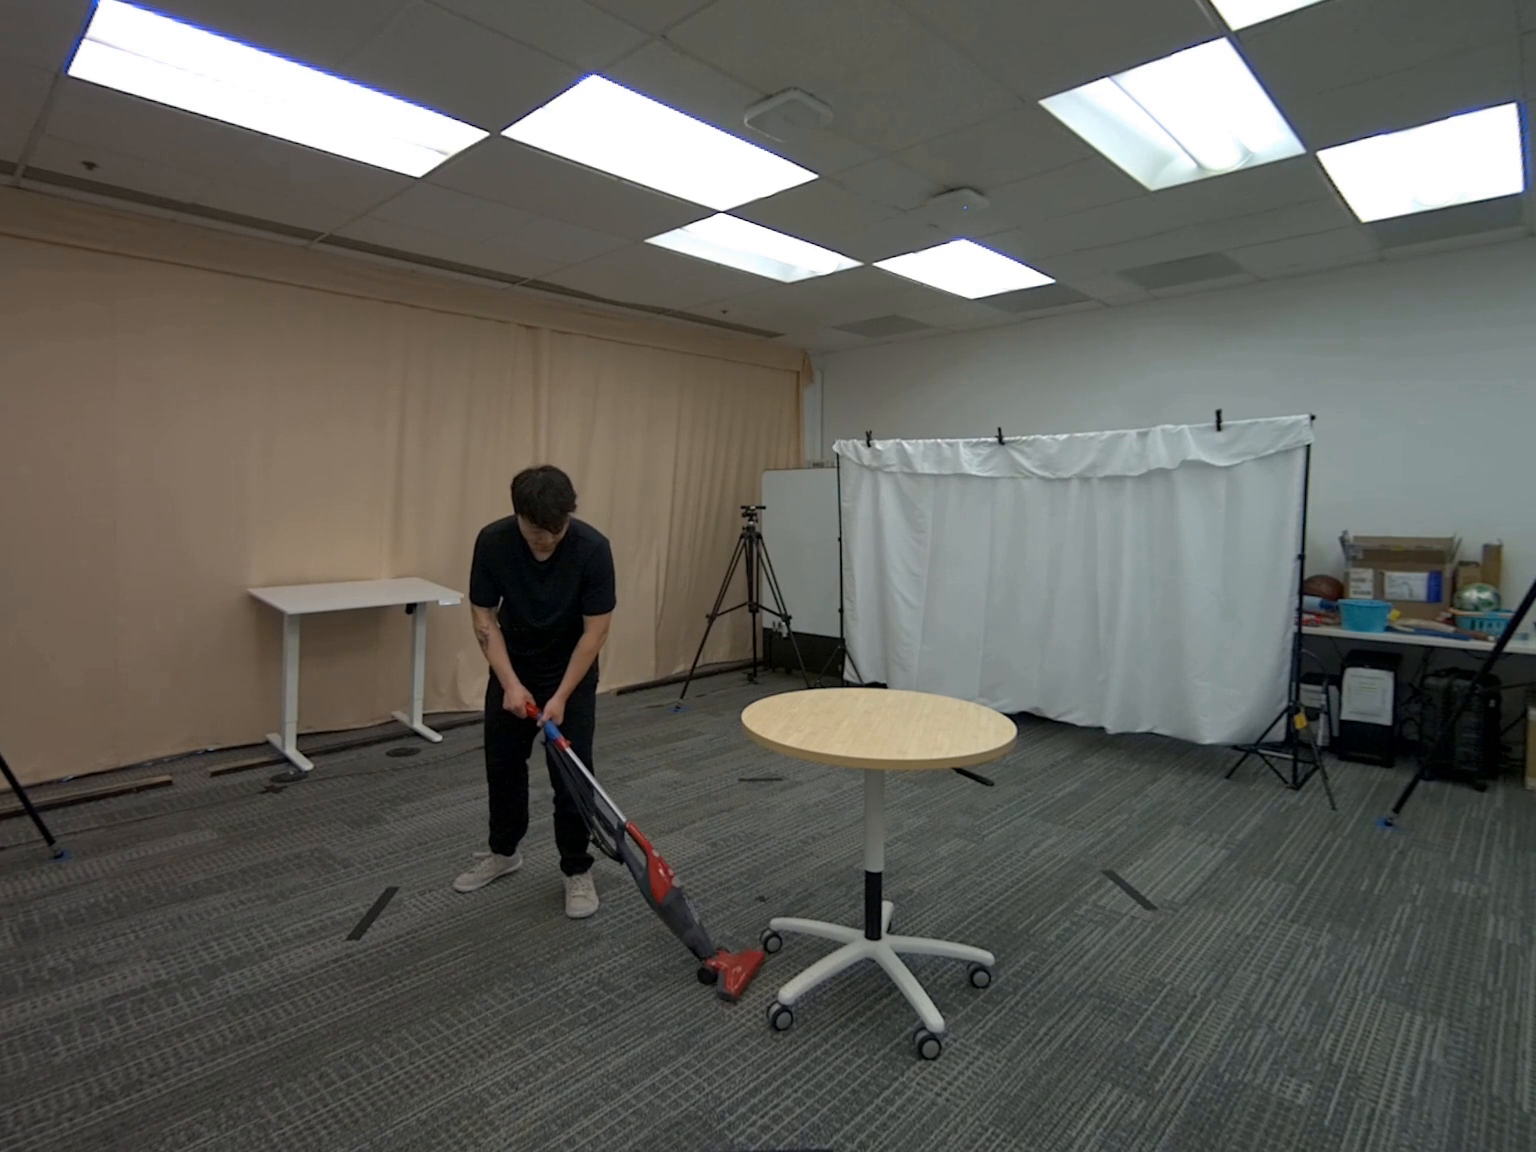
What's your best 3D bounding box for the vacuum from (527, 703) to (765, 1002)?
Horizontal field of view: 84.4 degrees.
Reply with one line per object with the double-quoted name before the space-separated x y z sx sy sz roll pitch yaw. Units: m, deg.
"vacuum" -0.471 0.794 2.624 1.068 0.144 0.247 46 21 15
